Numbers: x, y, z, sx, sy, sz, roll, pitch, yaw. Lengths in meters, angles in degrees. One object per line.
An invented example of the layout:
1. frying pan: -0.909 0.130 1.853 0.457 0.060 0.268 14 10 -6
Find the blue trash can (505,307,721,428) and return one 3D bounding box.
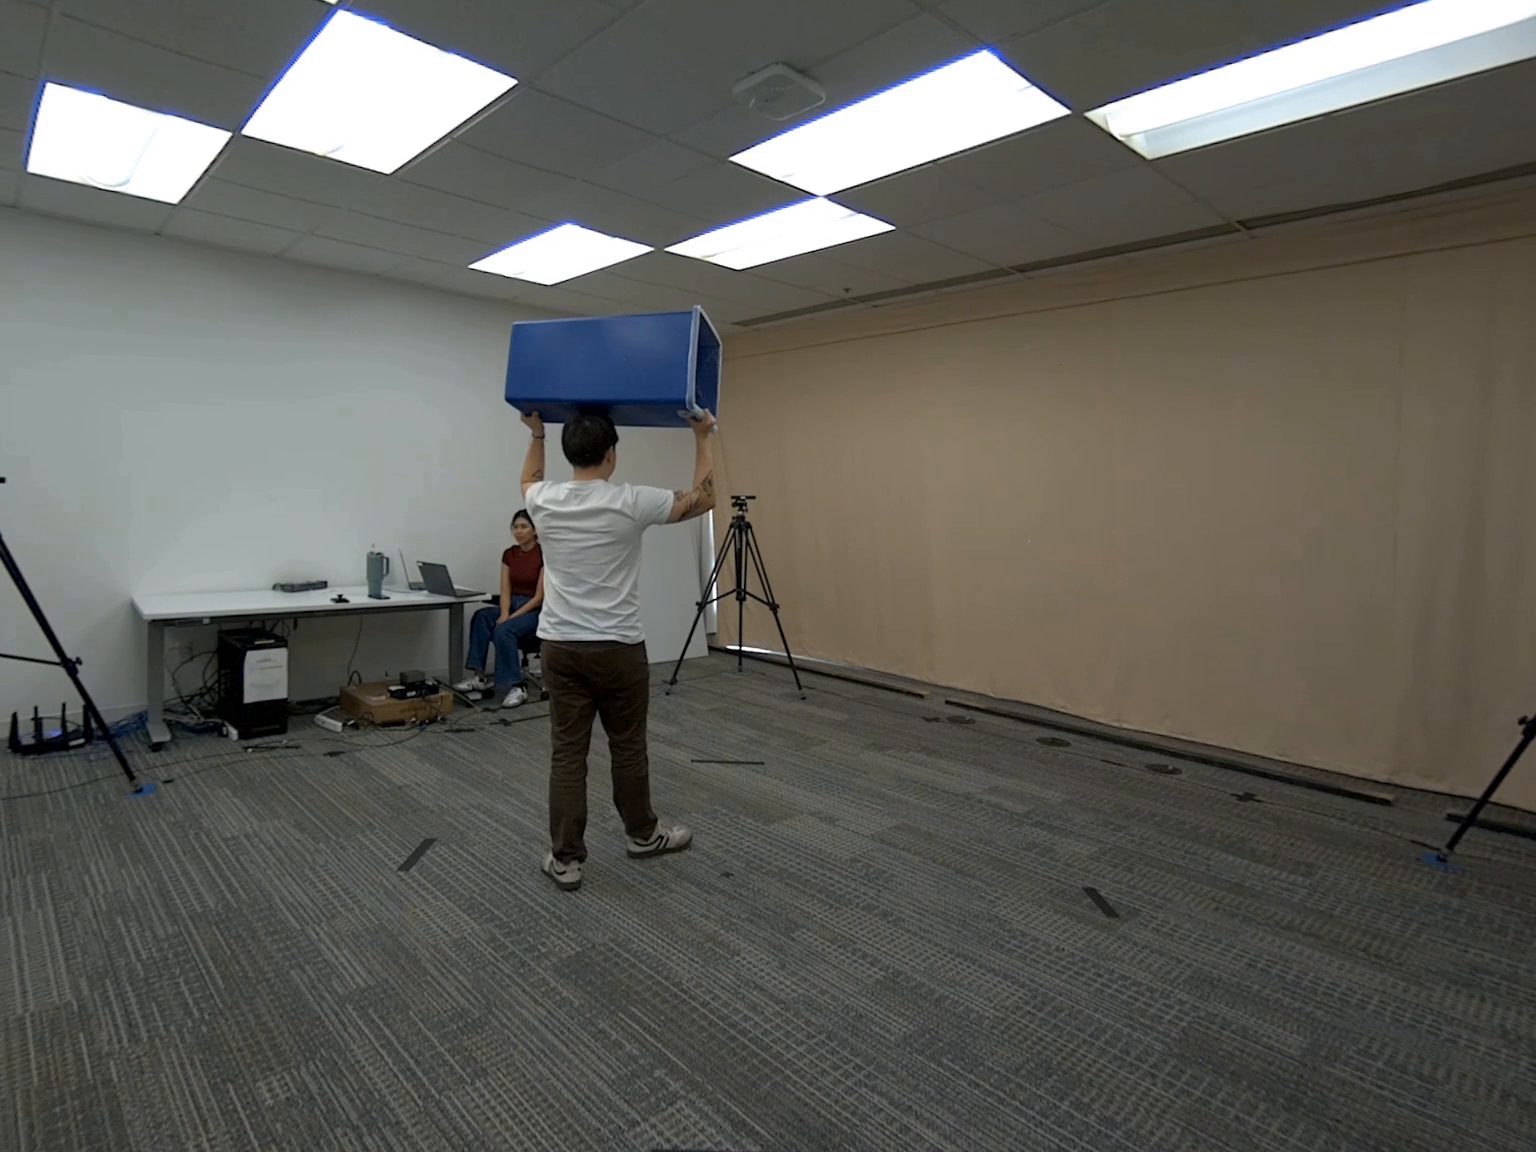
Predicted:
1. blue trash can: -0.566 -0.757 3.112 0.721 0.380 0.368 2 -6 12
